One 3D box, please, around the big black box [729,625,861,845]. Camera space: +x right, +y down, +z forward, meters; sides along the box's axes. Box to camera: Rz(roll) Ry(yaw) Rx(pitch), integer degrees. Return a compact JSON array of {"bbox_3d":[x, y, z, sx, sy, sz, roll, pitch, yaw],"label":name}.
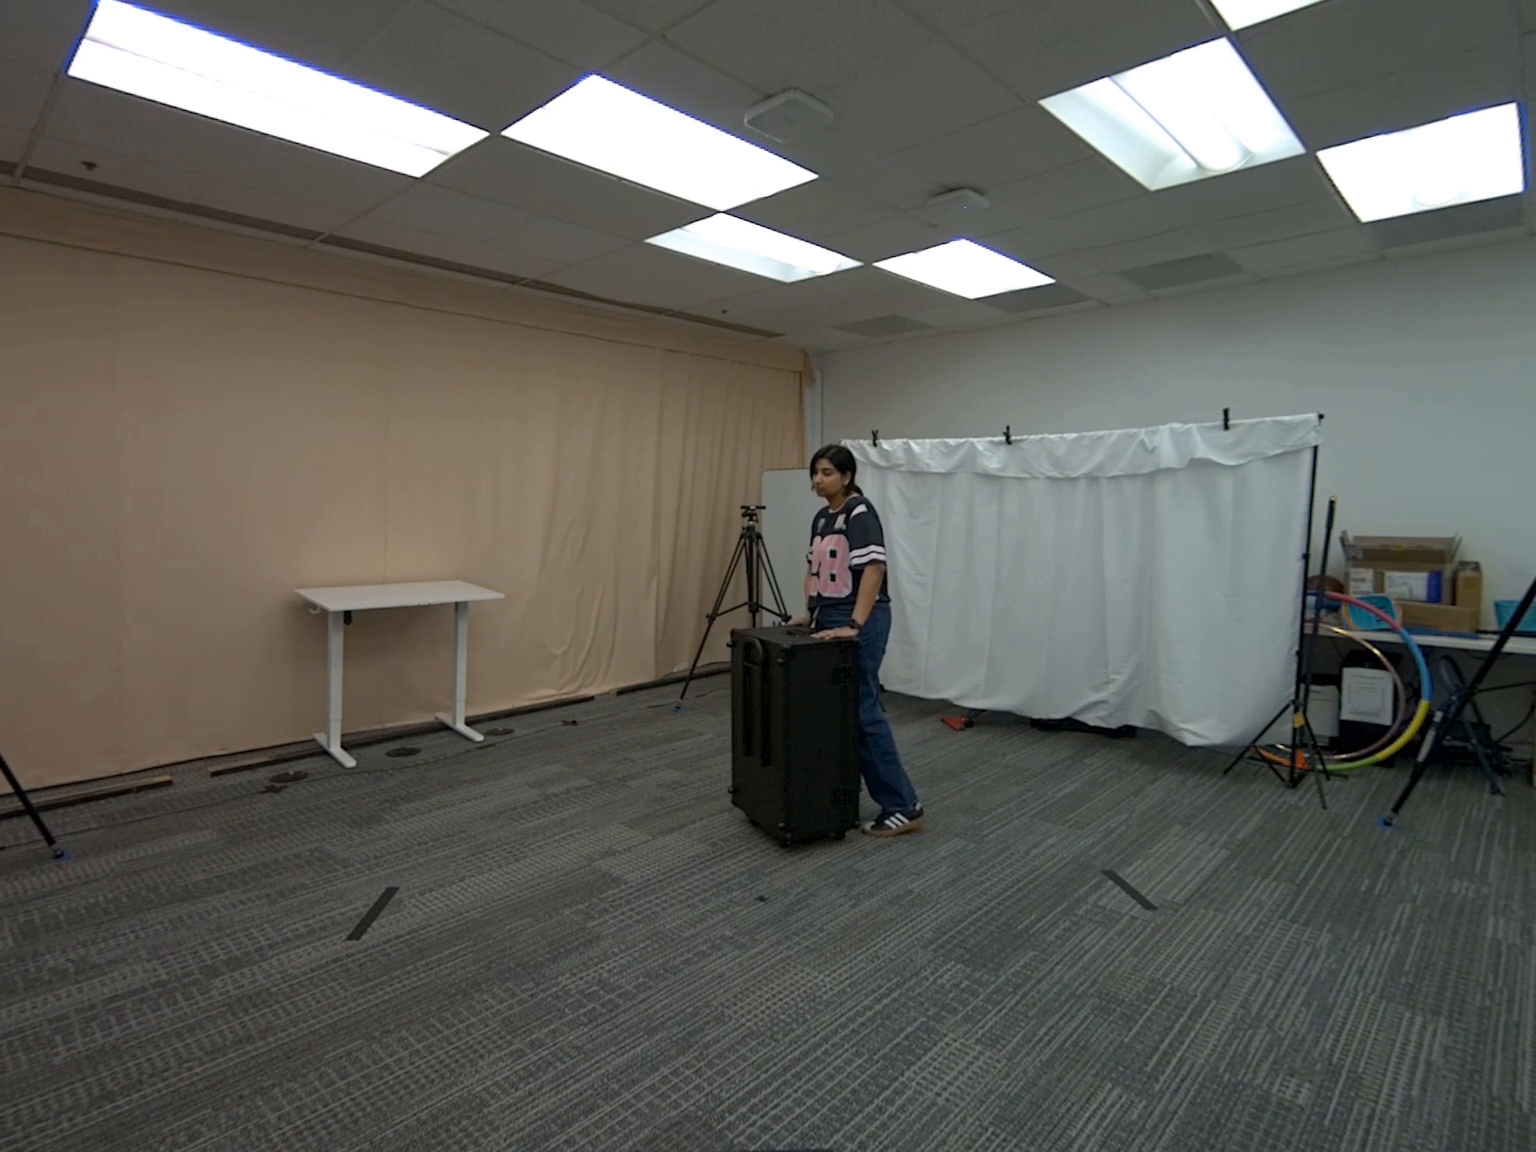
[{"bbox_3d":[0.108,0.672,3.569,0.376,0.867,0.537,-2,3,-27],"label":"big black box"}]
